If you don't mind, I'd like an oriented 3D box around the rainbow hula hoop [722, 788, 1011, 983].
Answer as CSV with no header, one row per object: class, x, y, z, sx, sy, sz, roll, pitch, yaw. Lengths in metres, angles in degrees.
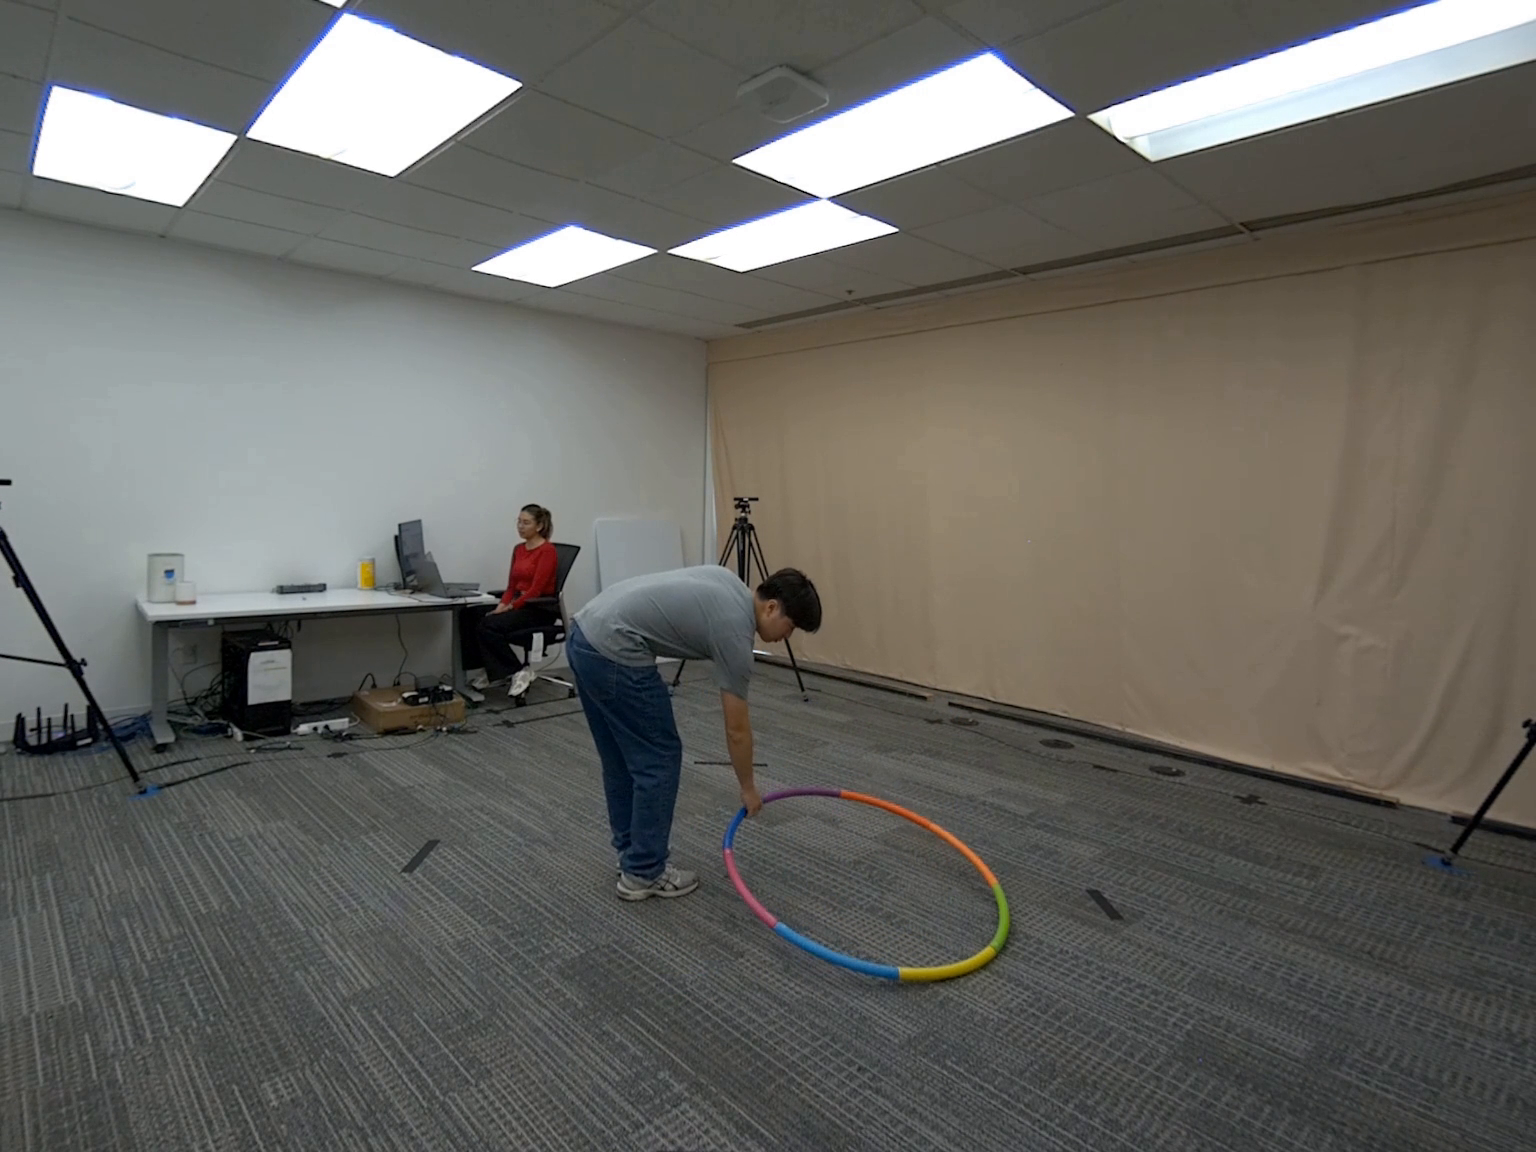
rainbow hula hoop,0.314,1.005,2.889,0.976,0.035,0.990,10,15,-4
